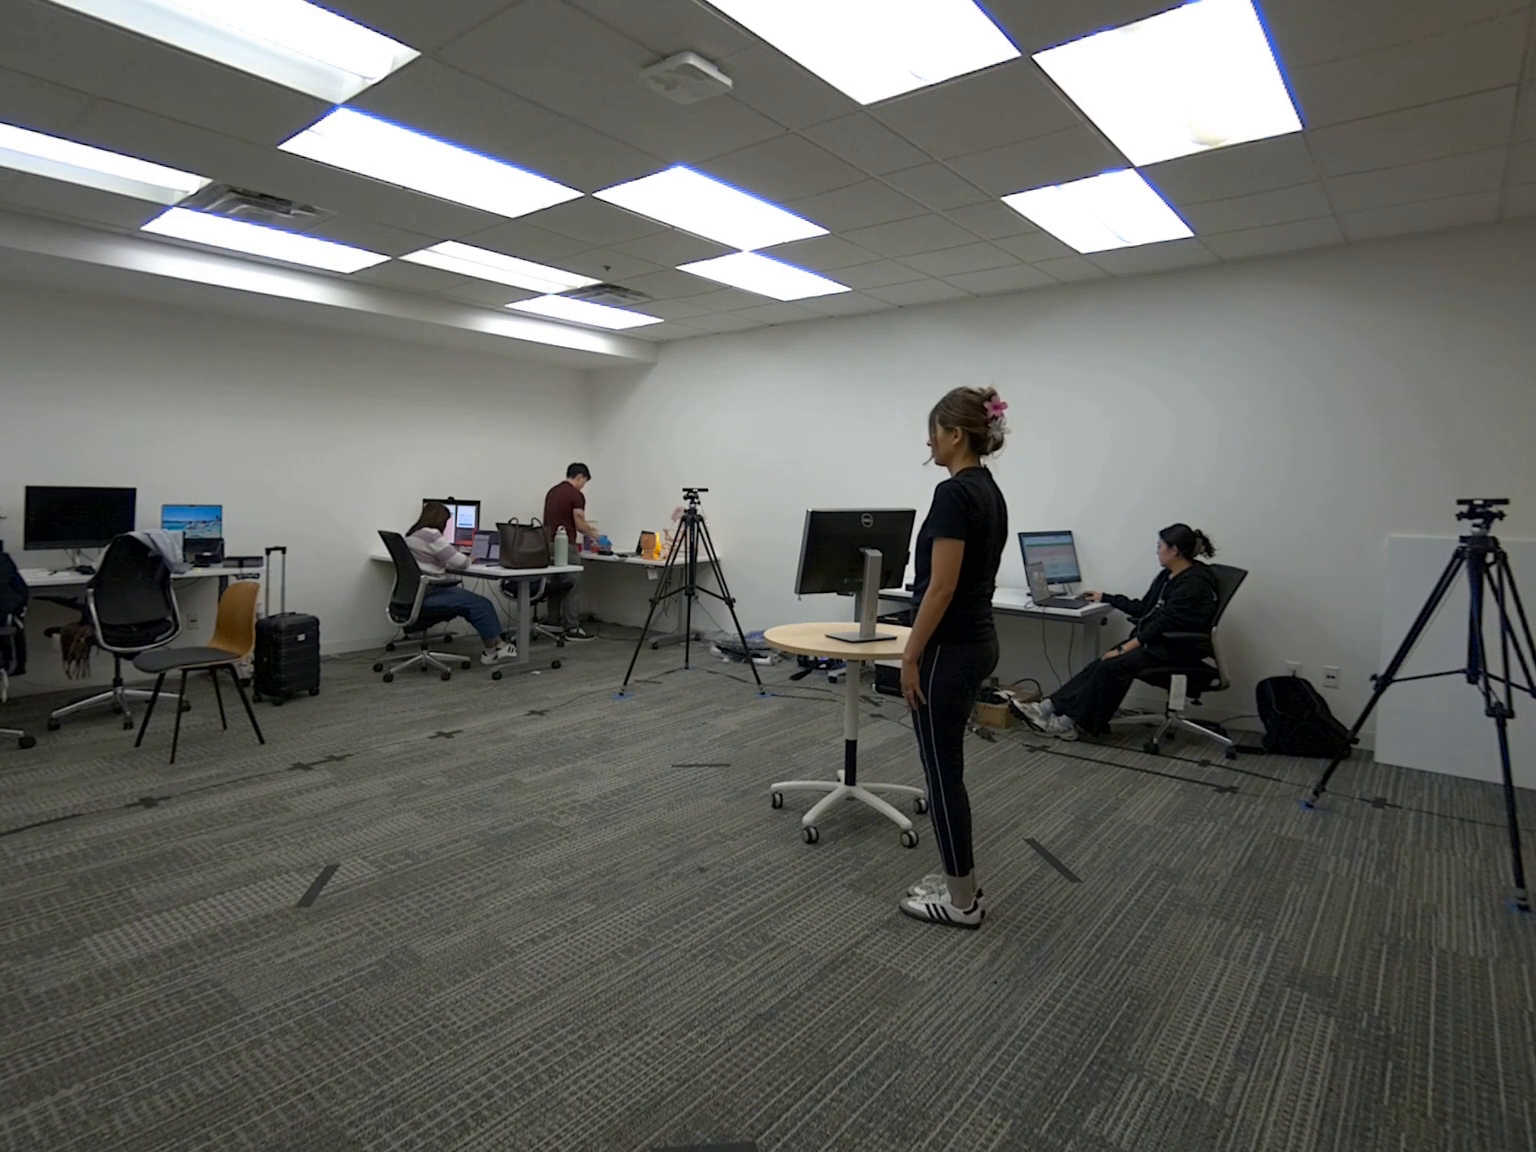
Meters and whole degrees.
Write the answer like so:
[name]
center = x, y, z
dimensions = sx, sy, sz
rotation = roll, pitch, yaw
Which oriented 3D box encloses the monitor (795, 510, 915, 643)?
[monitor]
center = 0.385, -0.009, 3.558
dimensions = 0.524, 0.521, 0.193
rotation = -2, 4, -32
